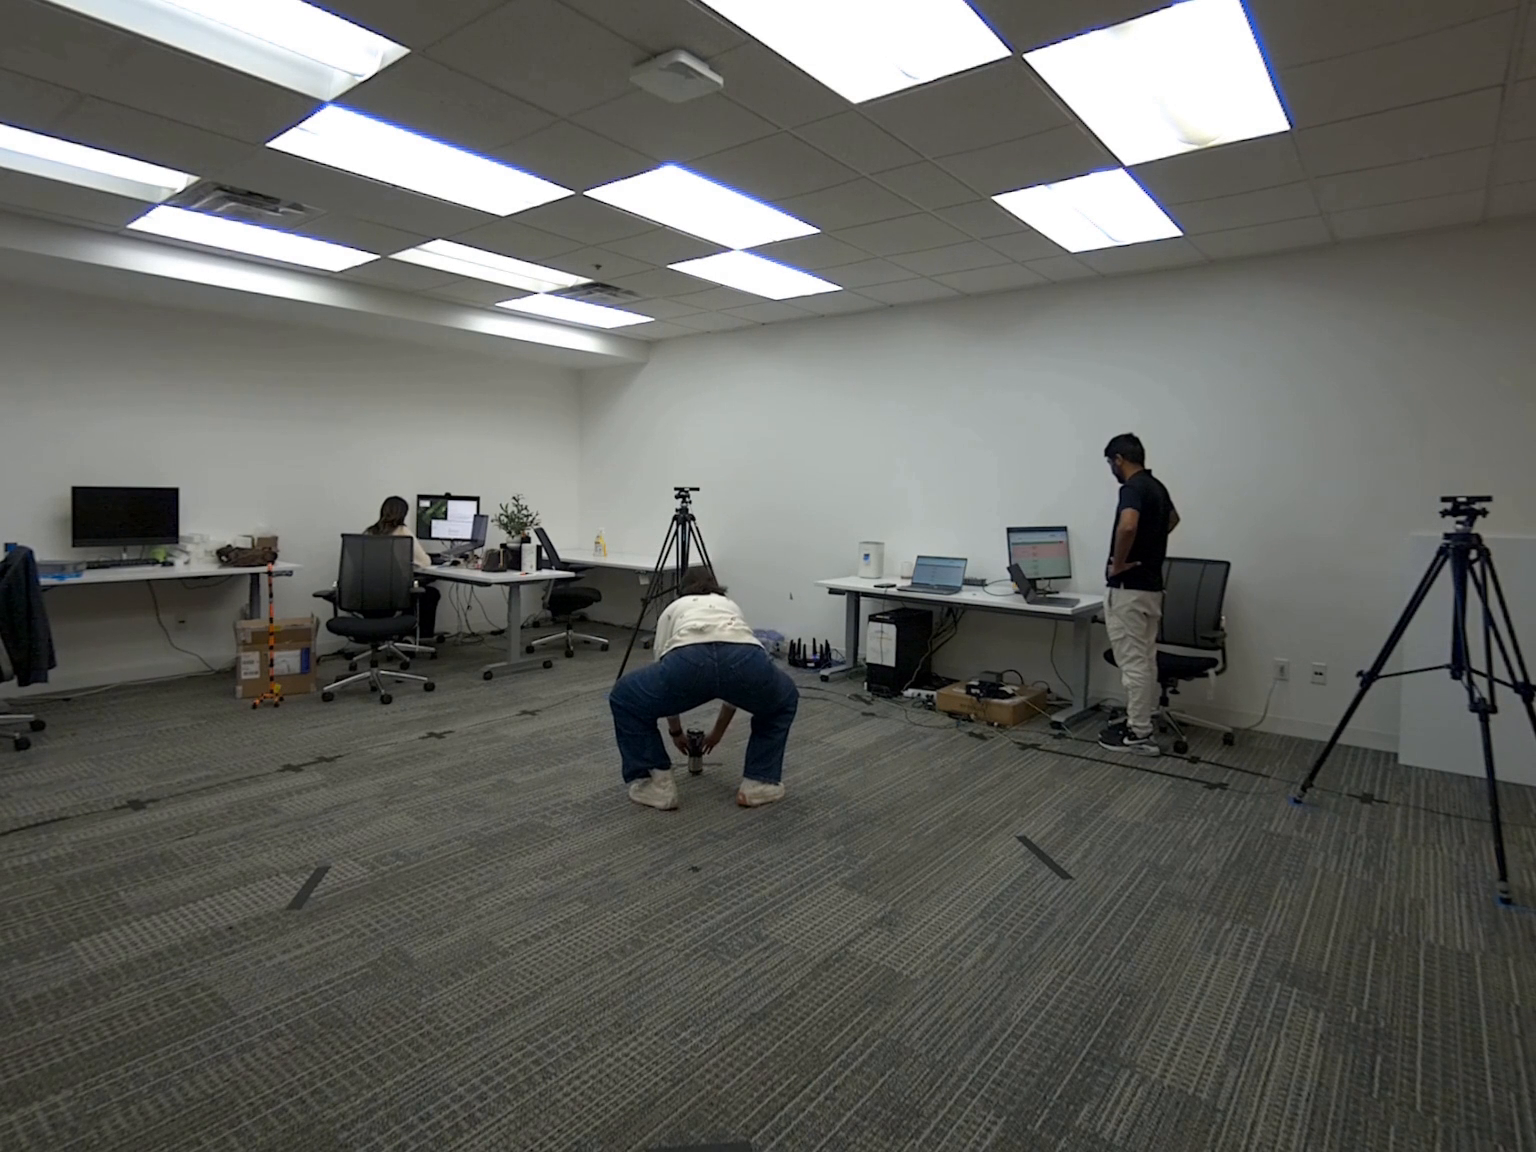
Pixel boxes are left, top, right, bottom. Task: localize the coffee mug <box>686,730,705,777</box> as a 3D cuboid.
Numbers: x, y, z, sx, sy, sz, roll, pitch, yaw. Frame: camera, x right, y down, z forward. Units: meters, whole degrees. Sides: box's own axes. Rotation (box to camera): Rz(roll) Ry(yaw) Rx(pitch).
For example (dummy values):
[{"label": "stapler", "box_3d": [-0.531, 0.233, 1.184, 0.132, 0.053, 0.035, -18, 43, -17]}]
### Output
[{"label": "coffee mug", "box_3d": [-0.385, 0.838, 4.174, 0.126, 0.202, 0.086, 4, 8, 31]}]
